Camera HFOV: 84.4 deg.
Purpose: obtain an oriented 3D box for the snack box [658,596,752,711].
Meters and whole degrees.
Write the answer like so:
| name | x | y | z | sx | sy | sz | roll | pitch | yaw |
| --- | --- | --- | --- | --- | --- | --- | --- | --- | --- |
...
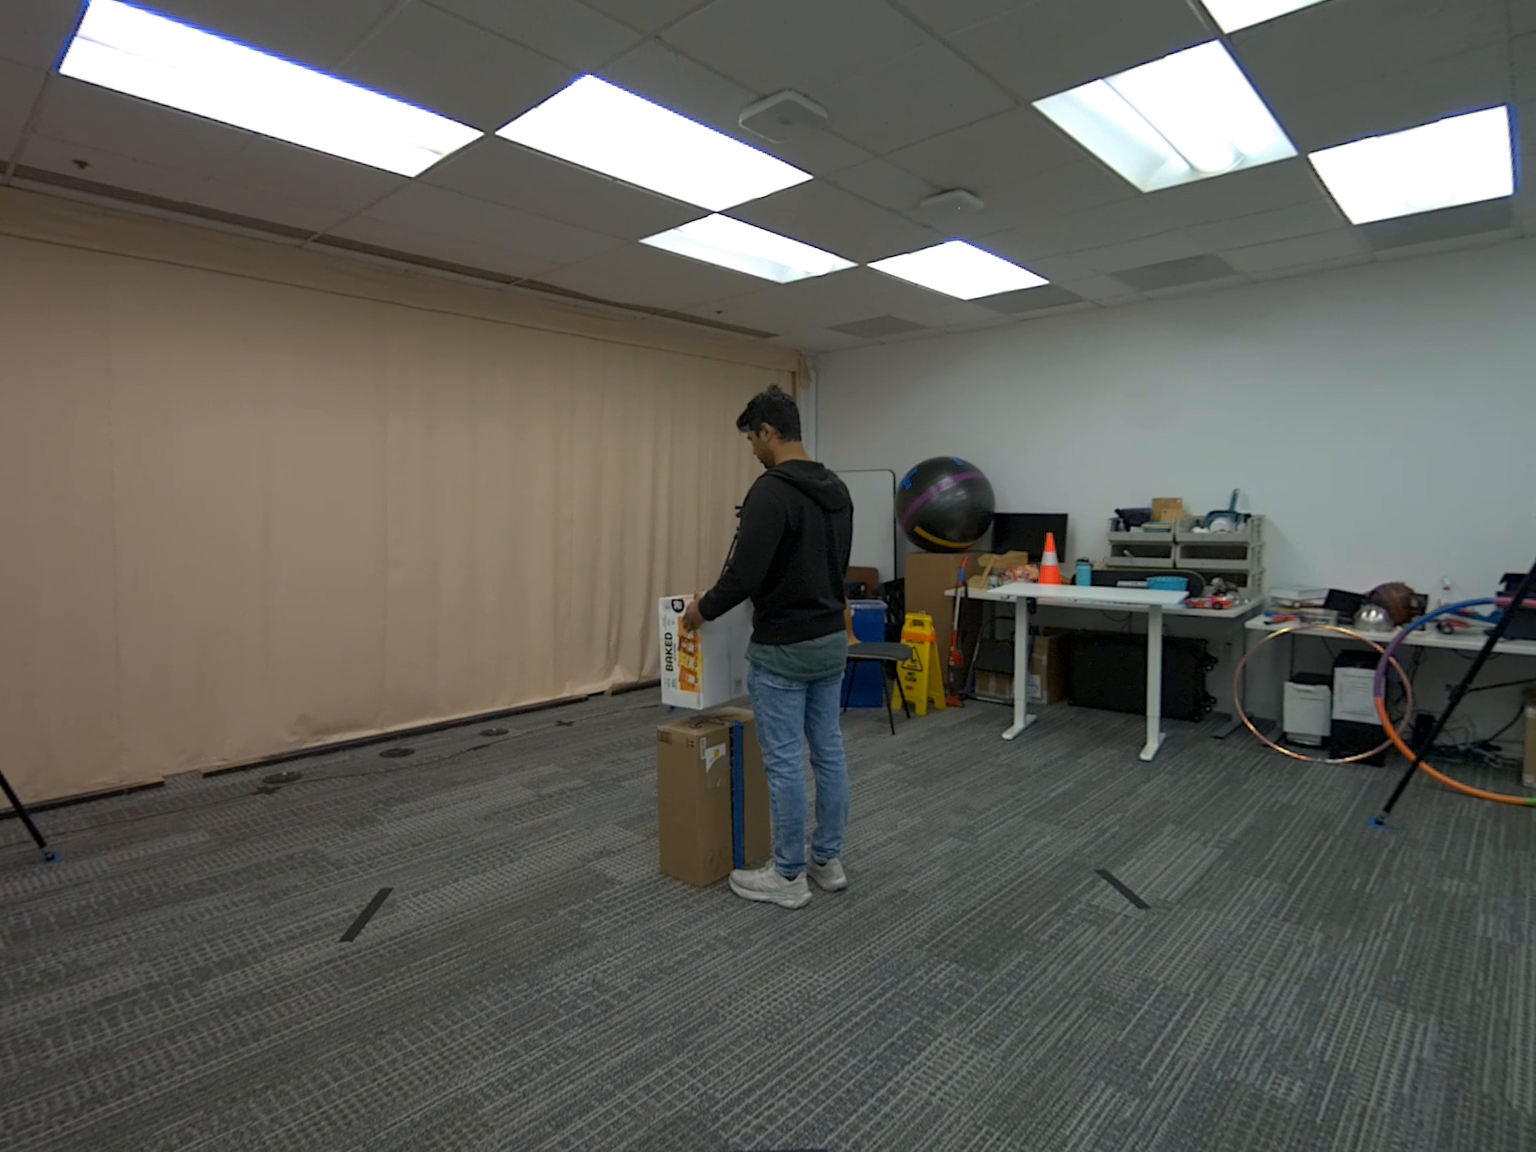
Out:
| name | x | y | z | sx | sy | sz | roll | pitch | yaw |
| --- | --- | --- | --- | --- | --- | --- | --- | --- | --- |
| snack box | -0.225 | 0.269 | 3.259 | 0.212 | 0.404 | 0.330 | 0 | 3 | 38 |
